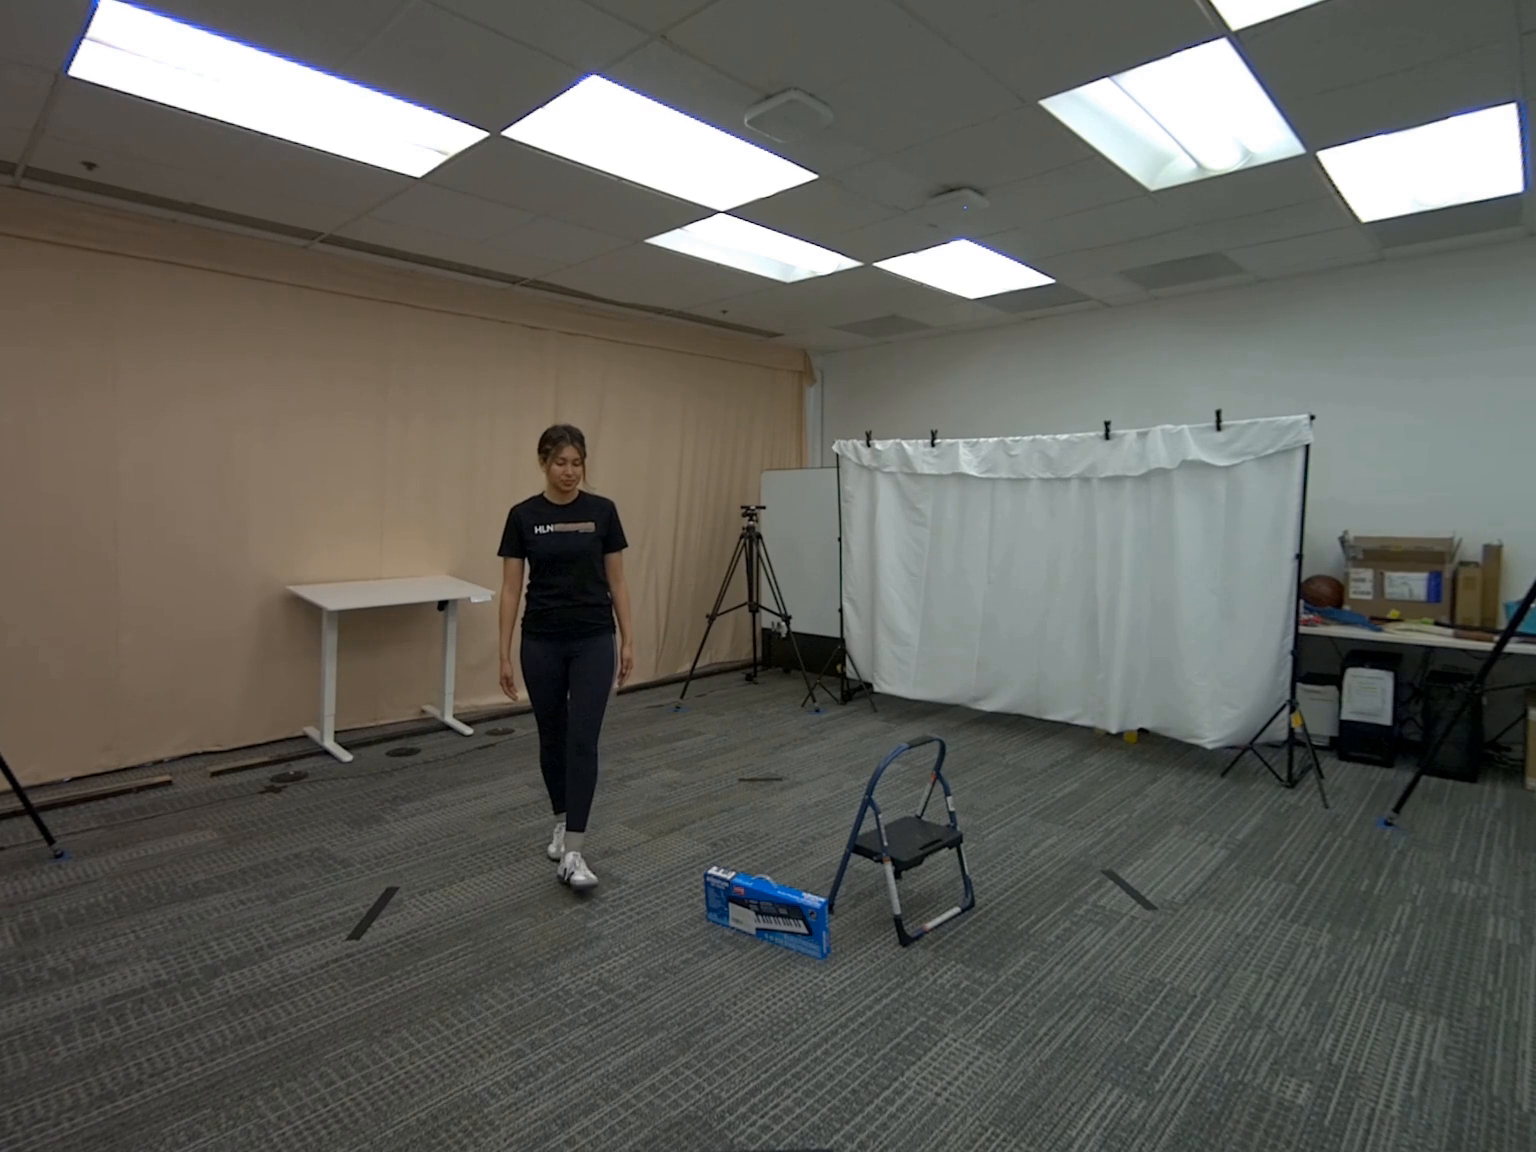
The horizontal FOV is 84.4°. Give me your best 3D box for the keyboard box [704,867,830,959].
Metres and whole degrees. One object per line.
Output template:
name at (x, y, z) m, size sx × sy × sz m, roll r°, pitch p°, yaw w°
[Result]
keyboard box at (-0.004, 1.080, 2.713) m, size 0.450 × 0.175 × 0.057 m, roll 3°, pitch 9°, yaw 33°
